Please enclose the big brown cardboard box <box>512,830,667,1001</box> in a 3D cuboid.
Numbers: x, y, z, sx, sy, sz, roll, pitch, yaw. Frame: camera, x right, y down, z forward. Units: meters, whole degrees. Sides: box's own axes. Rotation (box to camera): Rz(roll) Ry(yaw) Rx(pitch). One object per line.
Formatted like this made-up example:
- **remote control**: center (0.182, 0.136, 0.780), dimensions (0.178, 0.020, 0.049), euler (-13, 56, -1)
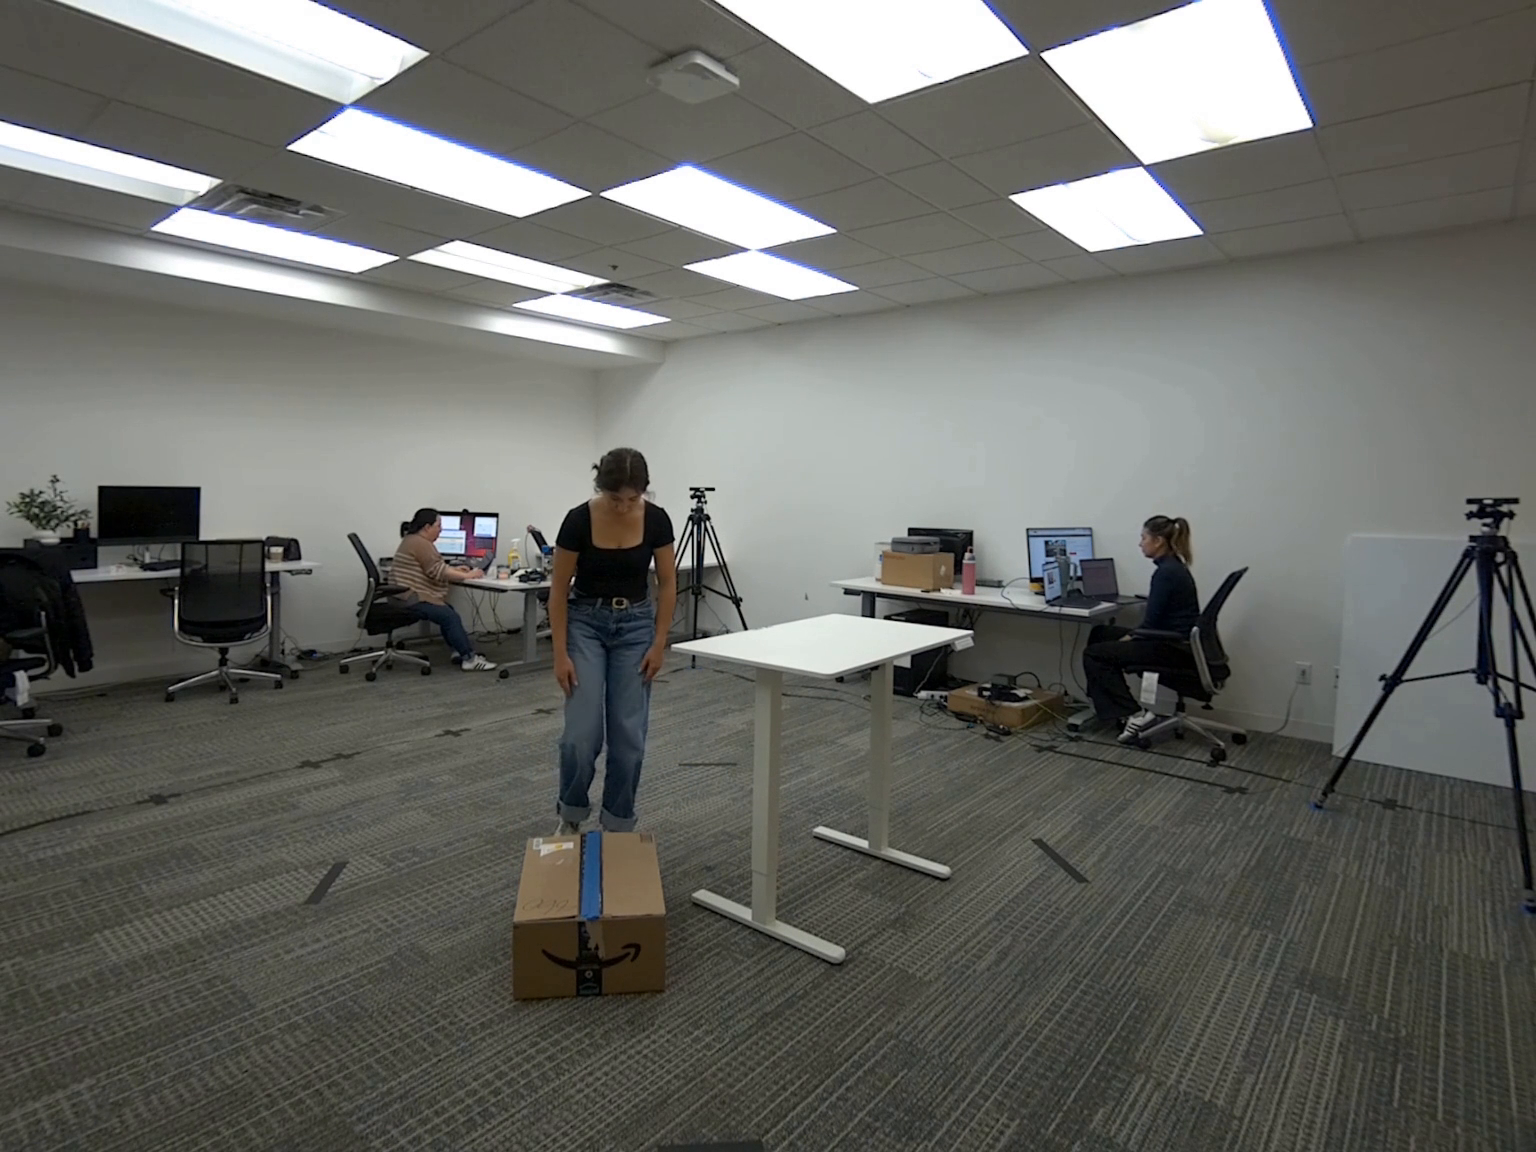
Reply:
- **big brown cardboard box**: center (-0.547, 1.001, 2.587), dimensions (0.413, 0.232, 0.598), euler (0, 6, -11)
